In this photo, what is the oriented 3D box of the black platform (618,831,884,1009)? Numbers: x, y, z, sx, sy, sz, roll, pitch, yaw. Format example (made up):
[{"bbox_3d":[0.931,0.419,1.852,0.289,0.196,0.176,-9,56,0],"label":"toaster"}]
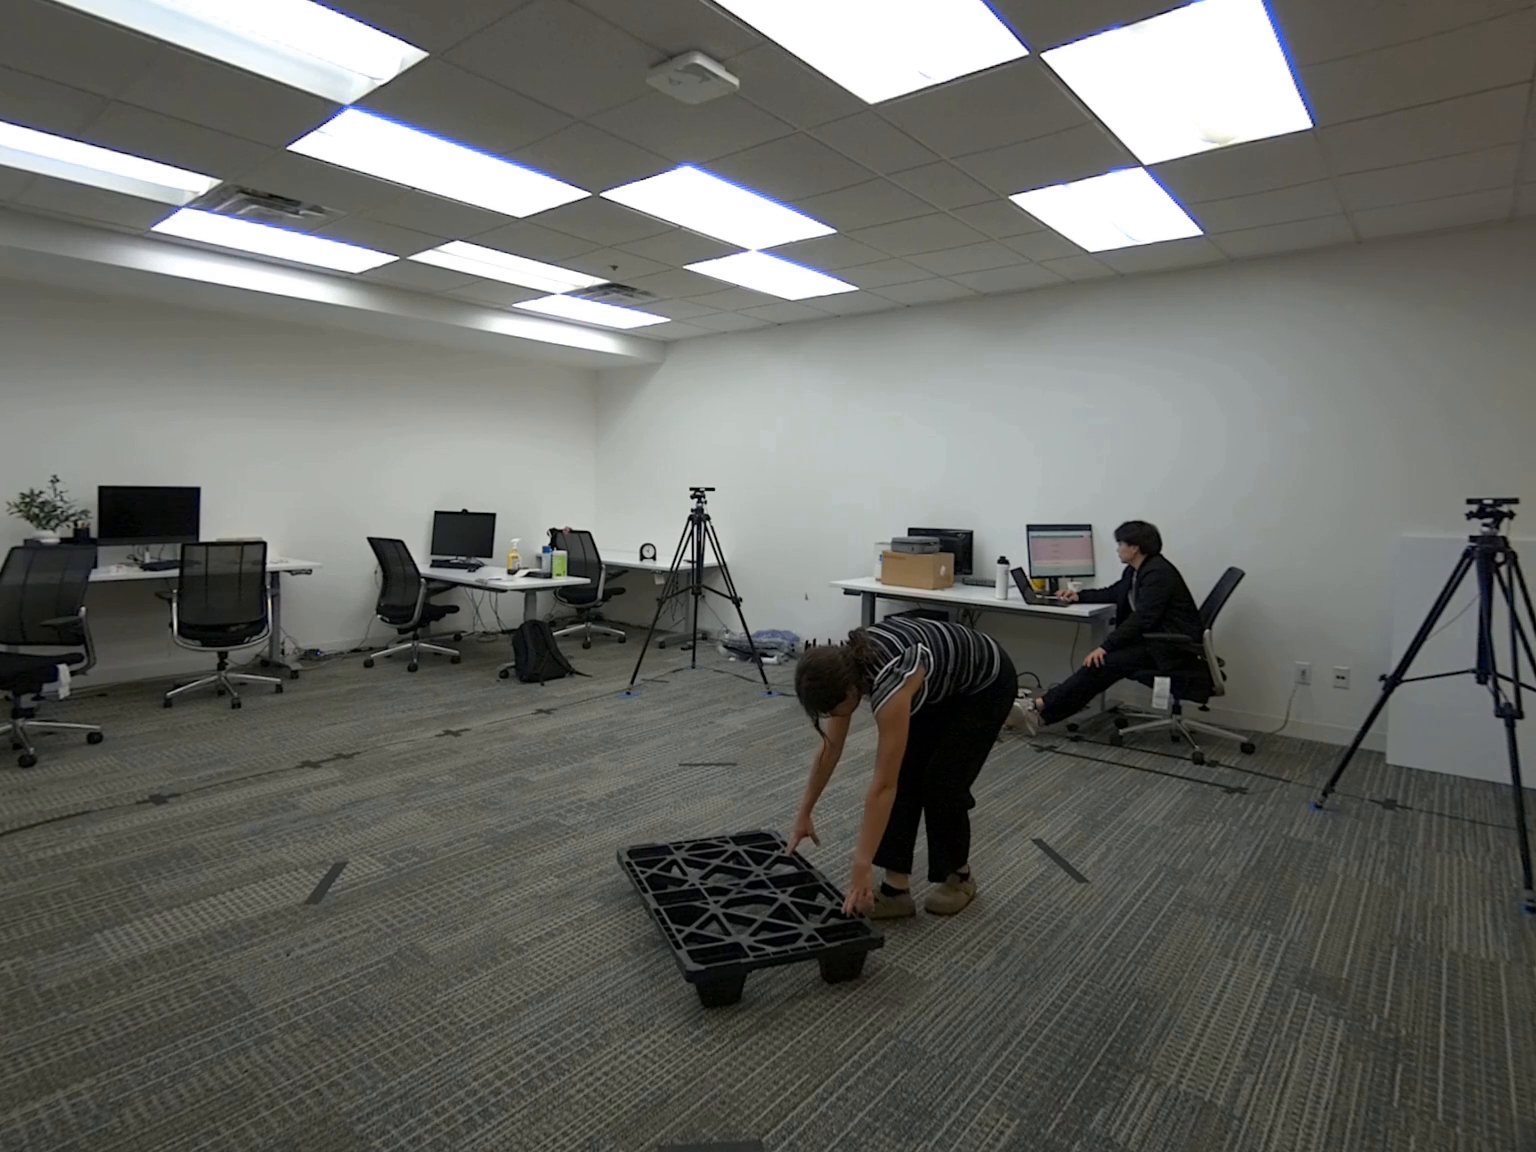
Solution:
[{"bbox_3d":[-0.107,1.041,2.681,0.592,0.143,0.826,-1,6,-22],"label":"black platform"}]
